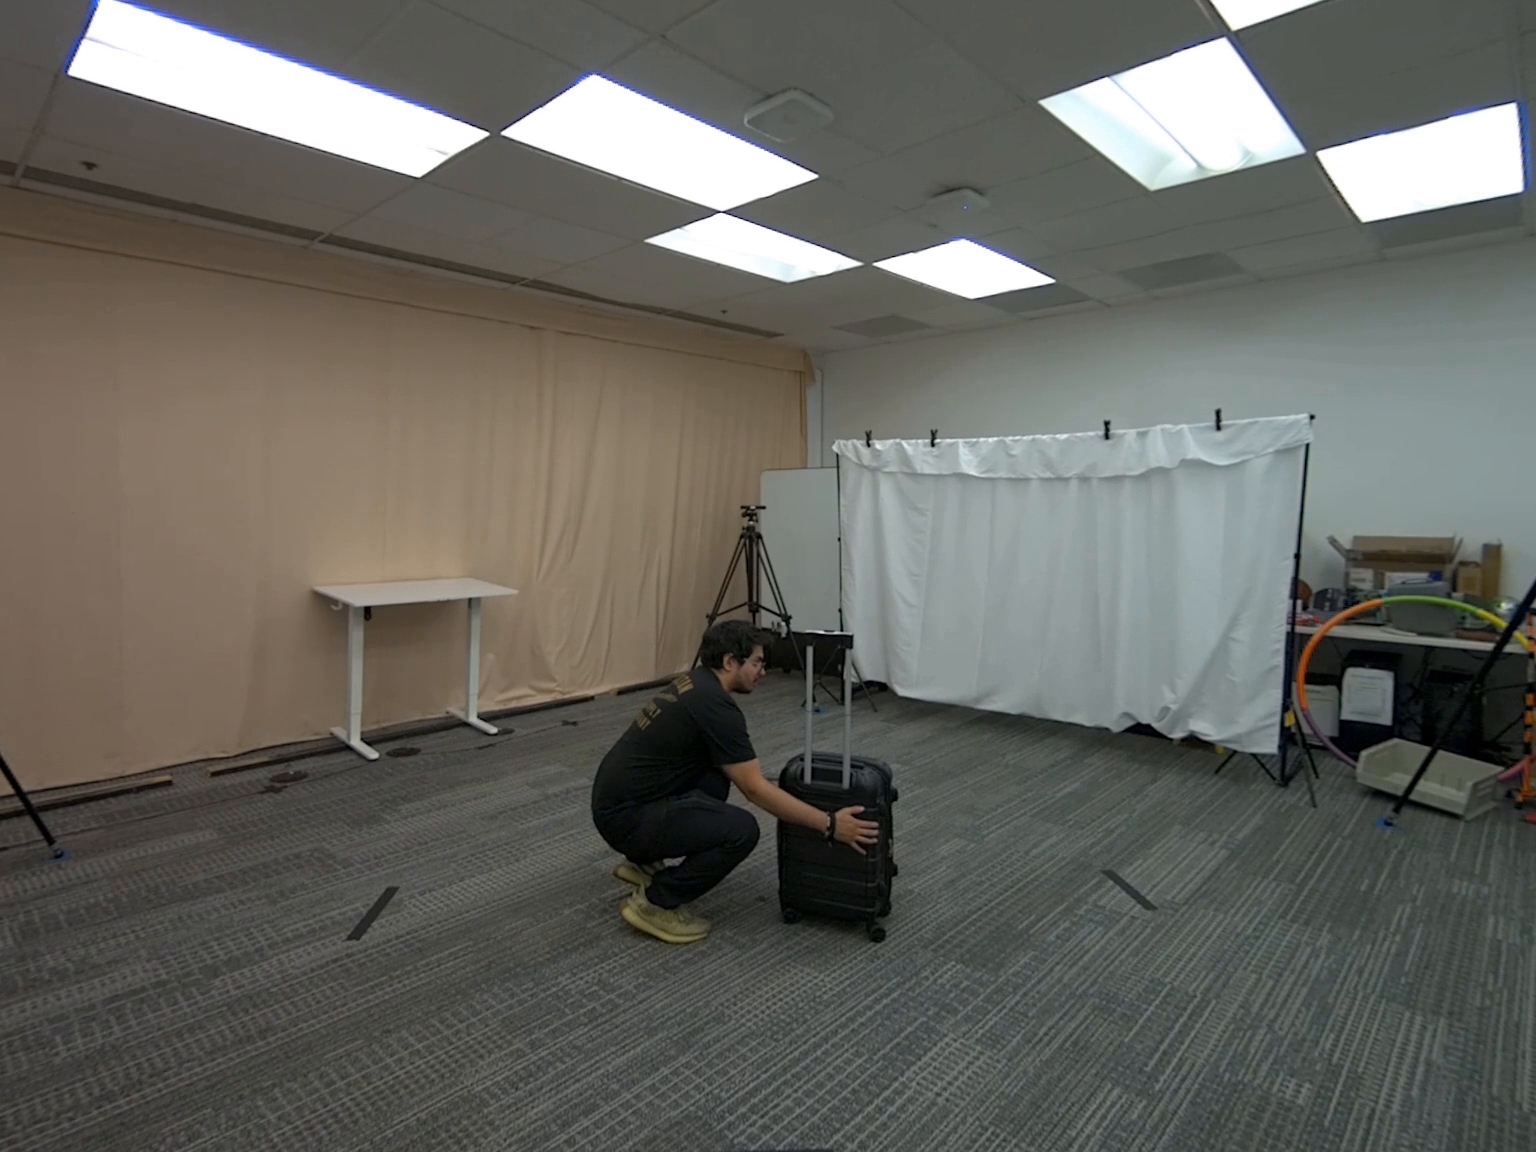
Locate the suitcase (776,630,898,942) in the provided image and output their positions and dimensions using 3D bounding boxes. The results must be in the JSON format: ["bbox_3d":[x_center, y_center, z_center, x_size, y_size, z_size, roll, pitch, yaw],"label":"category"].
[{"bbox_3d":[0.231,0.680,2.834,0.392,0.978,0.251,0,0,21],"label":"suitcase"}]
